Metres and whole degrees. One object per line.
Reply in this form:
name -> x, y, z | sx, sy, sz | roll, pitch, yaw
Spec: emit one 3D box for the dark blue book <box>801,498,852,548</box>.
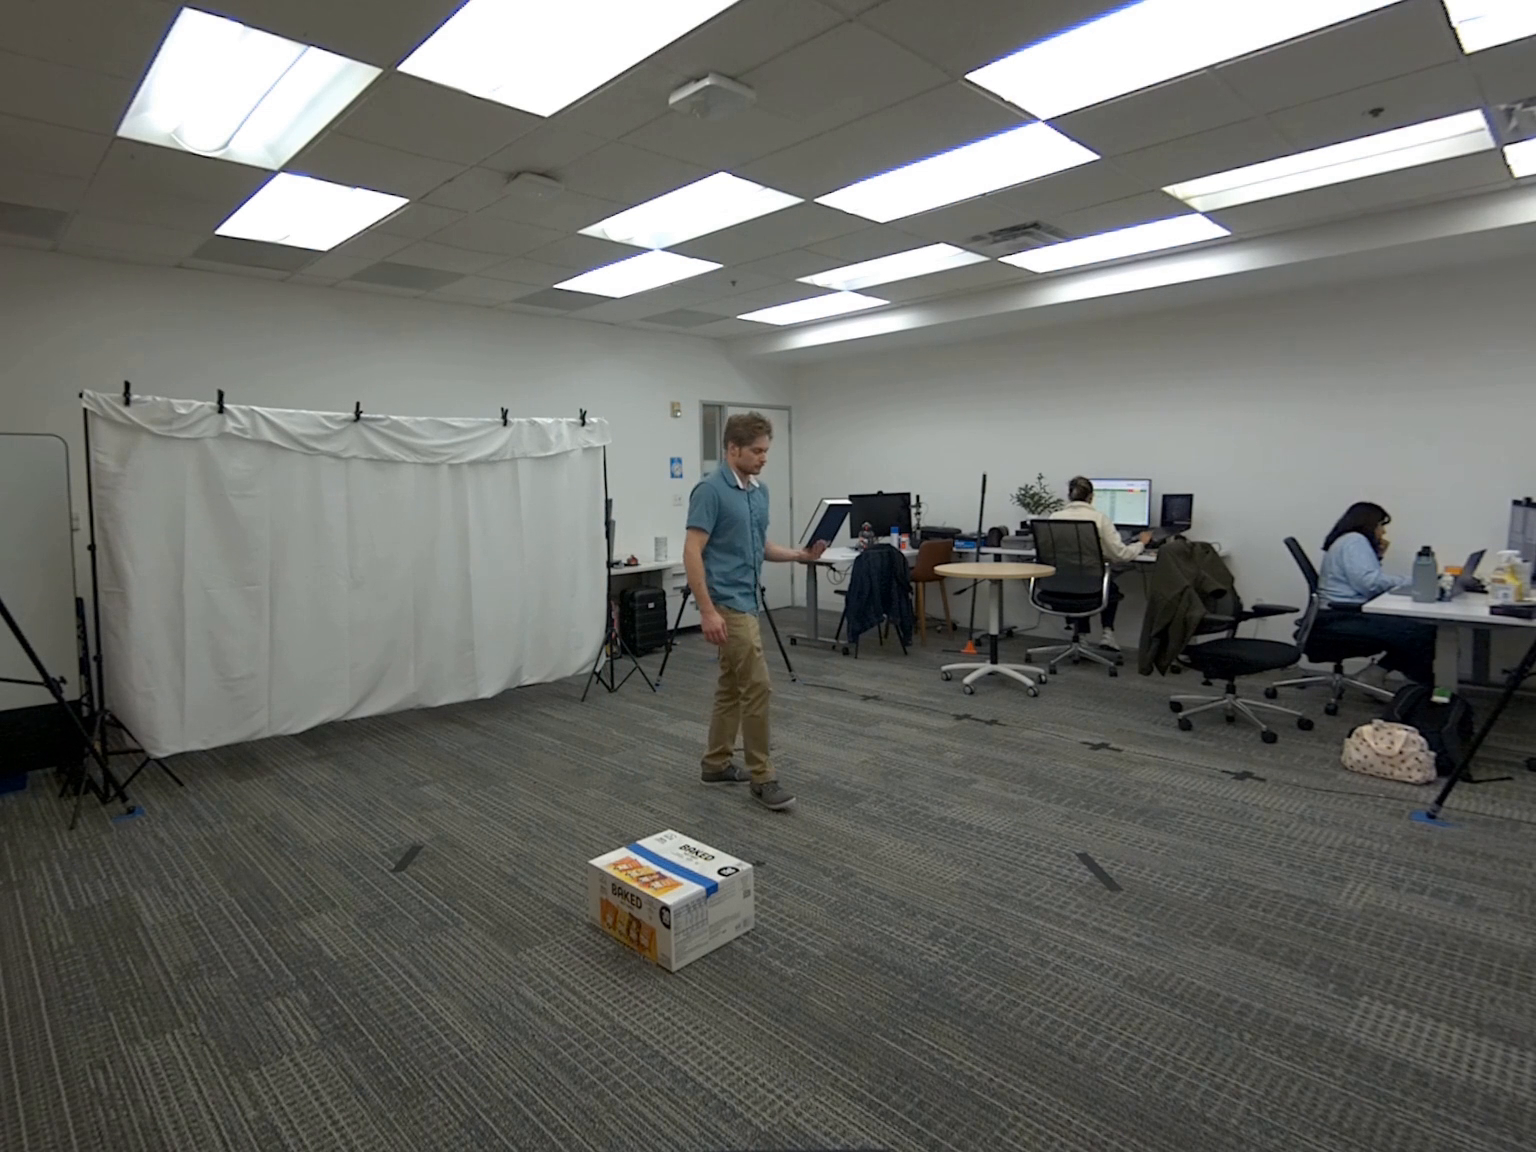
dark blue book -> 0.248, -0.229, 3.725 | 0.159, 0.243, 0.047 | -3, 41, -43
